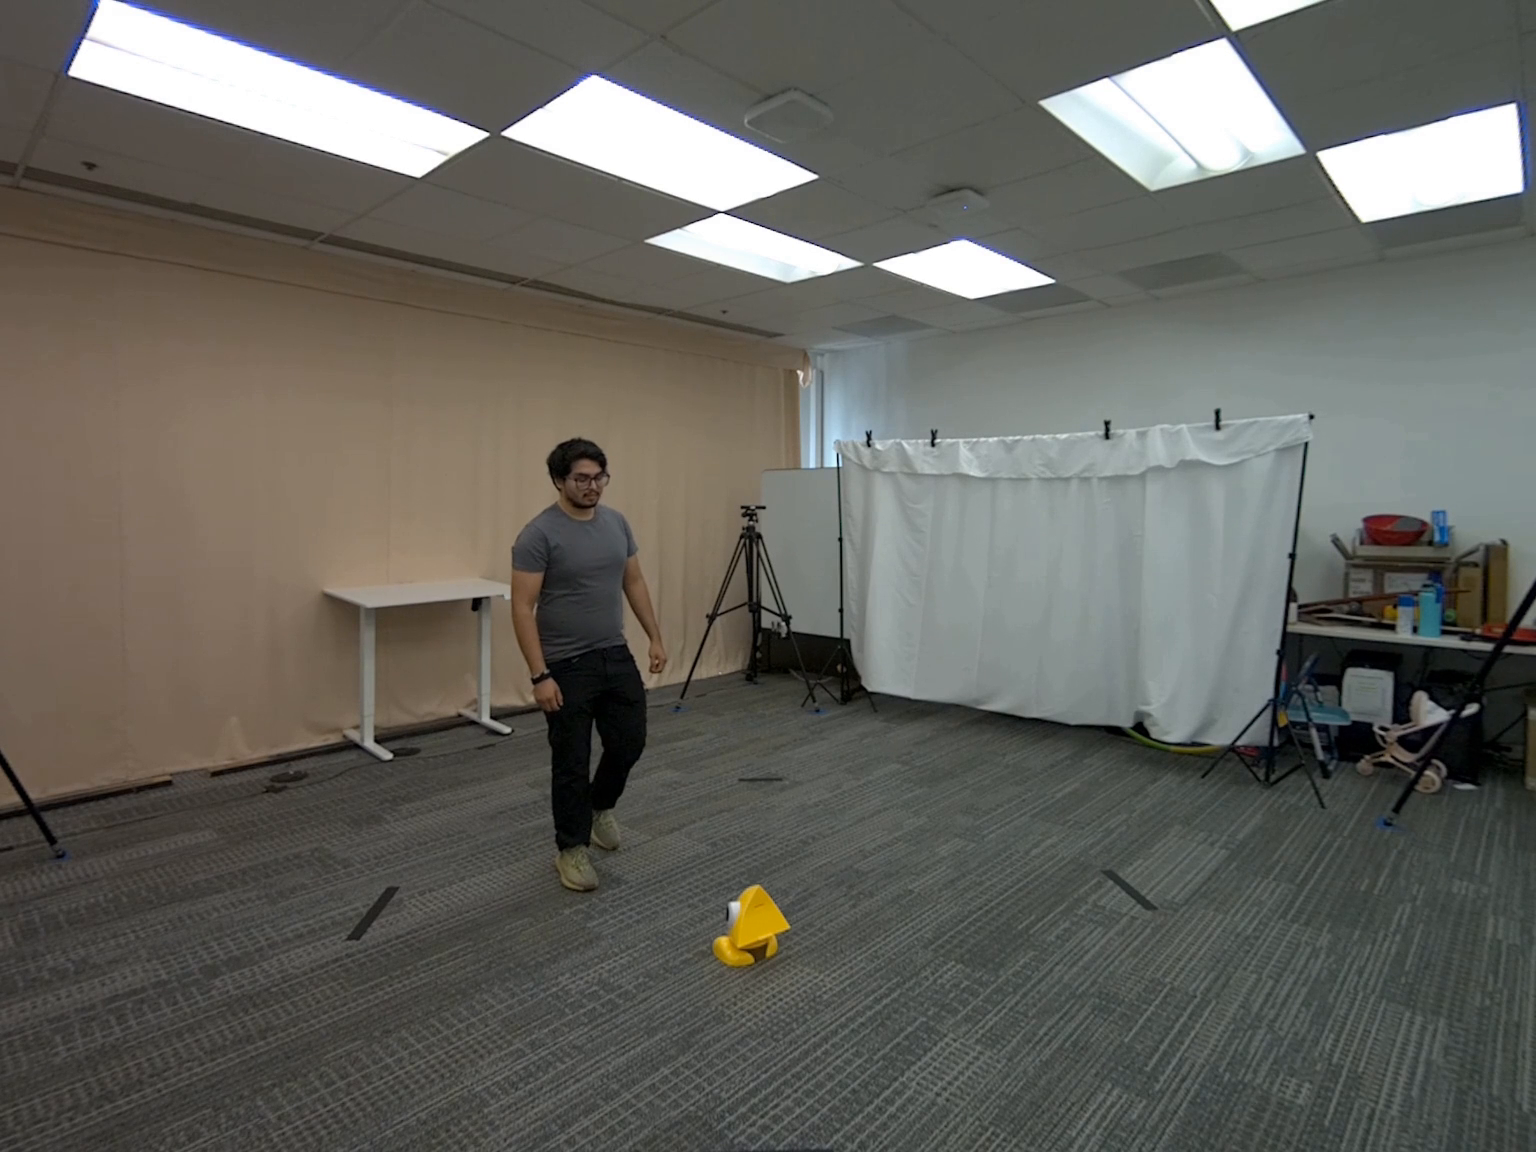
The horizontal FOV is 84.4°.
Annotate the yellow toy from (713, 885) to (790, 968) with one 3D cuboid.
[{"bbox_3d":[-0.062,1.063,2.627,0.199,0.230,0.199,-2,3,-37],"label":"yellow toy"}]
